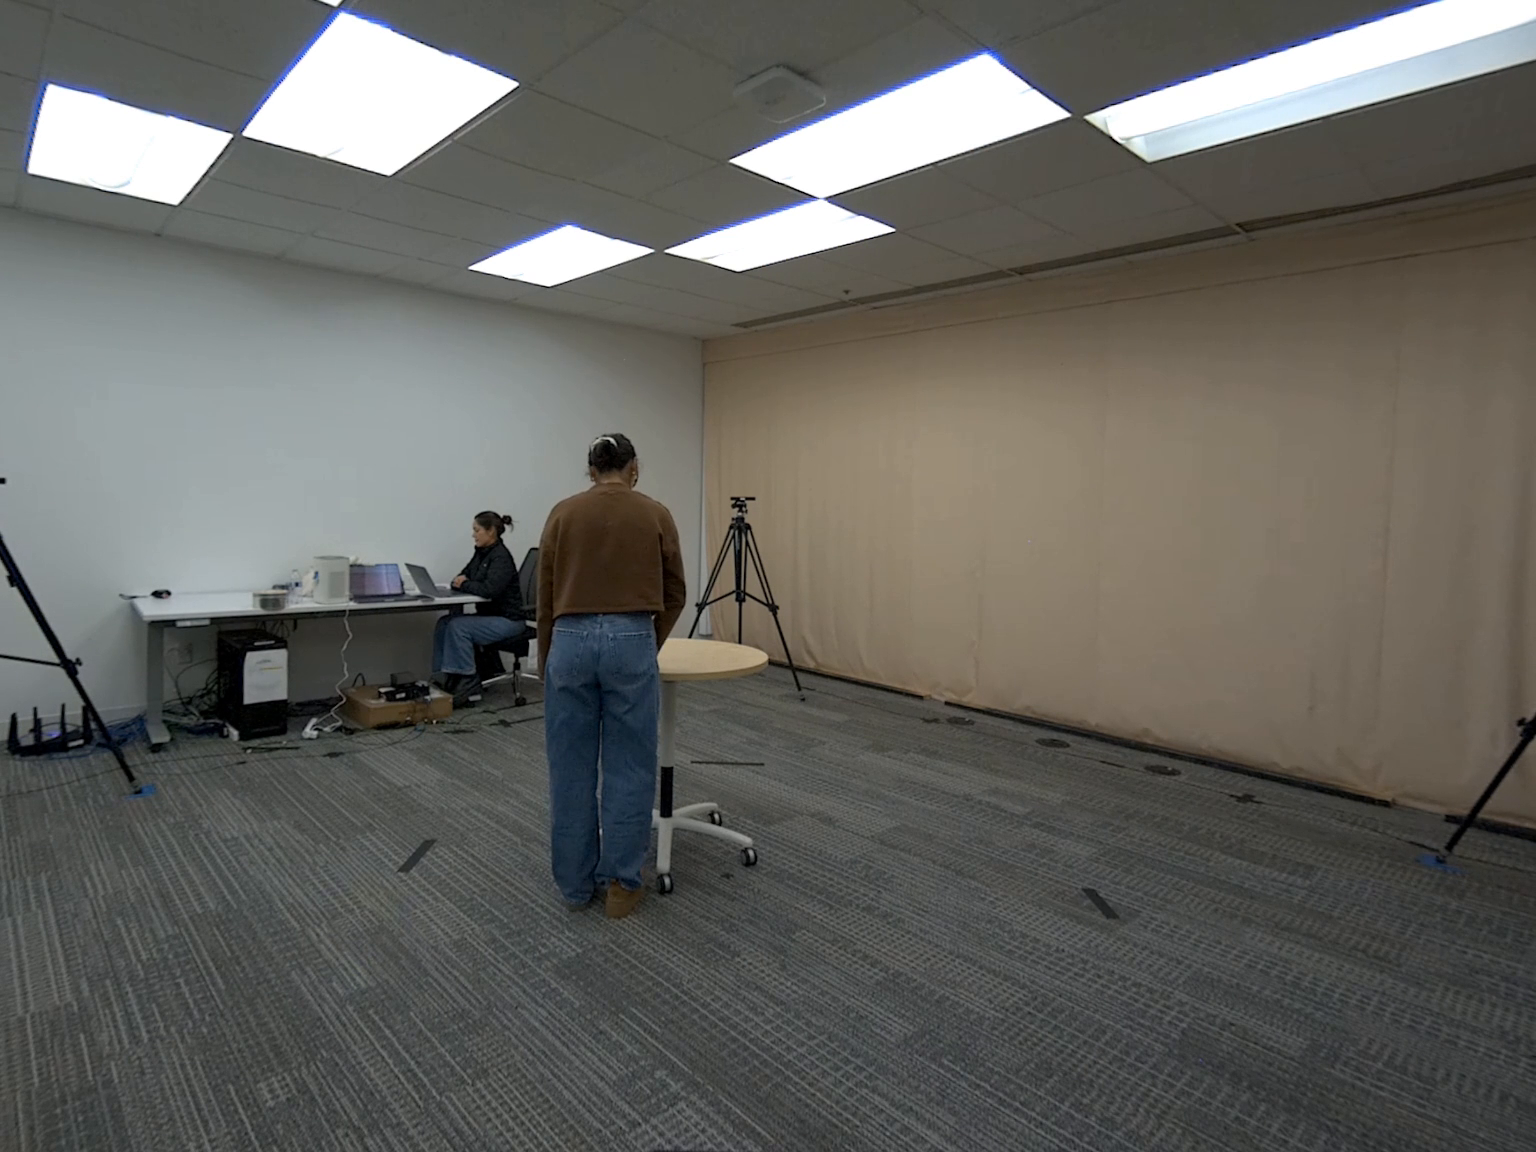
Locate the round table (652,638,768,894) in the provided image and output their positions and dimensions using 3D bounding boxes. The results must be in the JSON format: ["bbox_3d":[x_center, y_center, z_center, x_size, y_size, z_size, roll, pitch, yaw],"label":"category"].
[{"bbox_3d":[-0.398,0.698,3.295,0.763,0.792,0.766,1,4,-1],"label":"round table"}]
